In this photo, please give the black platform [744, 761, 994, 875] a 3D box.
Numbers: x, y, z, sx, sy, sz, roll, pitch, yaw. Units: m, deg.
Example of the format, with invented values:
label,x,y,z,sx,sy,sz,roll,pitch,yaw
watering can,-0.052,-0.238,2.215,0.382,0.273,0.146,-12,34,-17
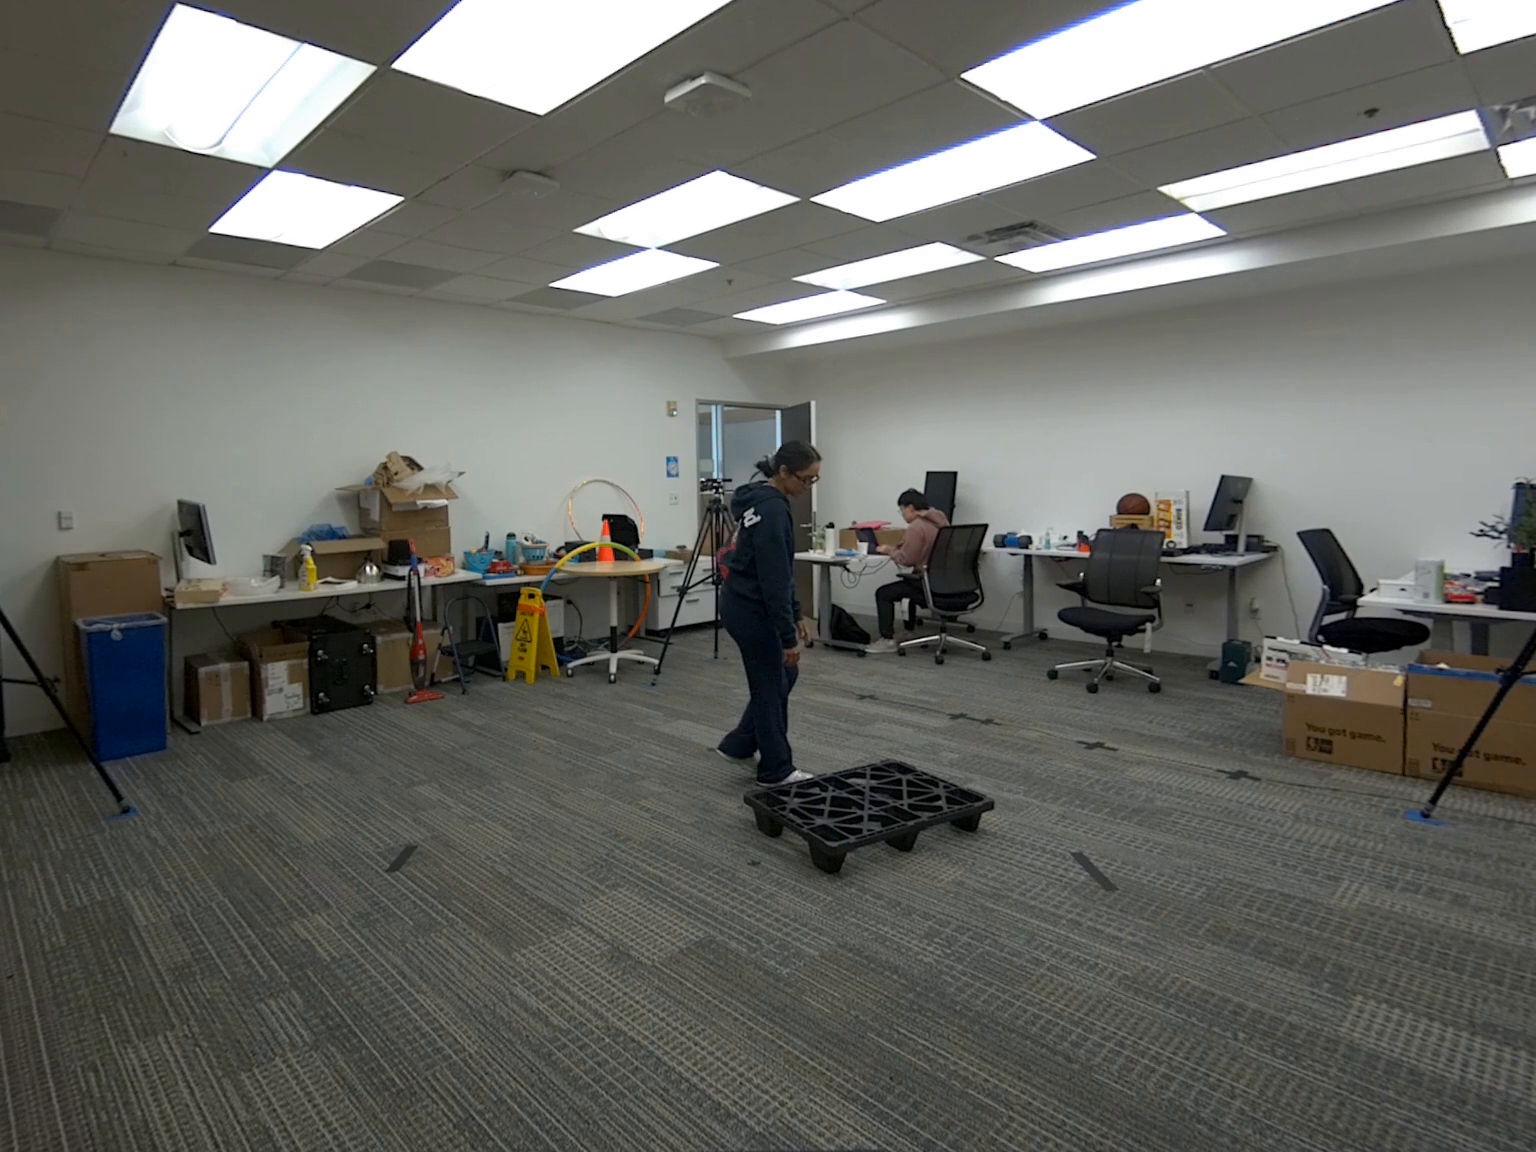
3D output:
label,x,y,z,sx,sy,sz,roll,pitch,yaw
black platform,0.389,0.938,3.382,0.786,0.143,0.622,-5,7,-31
